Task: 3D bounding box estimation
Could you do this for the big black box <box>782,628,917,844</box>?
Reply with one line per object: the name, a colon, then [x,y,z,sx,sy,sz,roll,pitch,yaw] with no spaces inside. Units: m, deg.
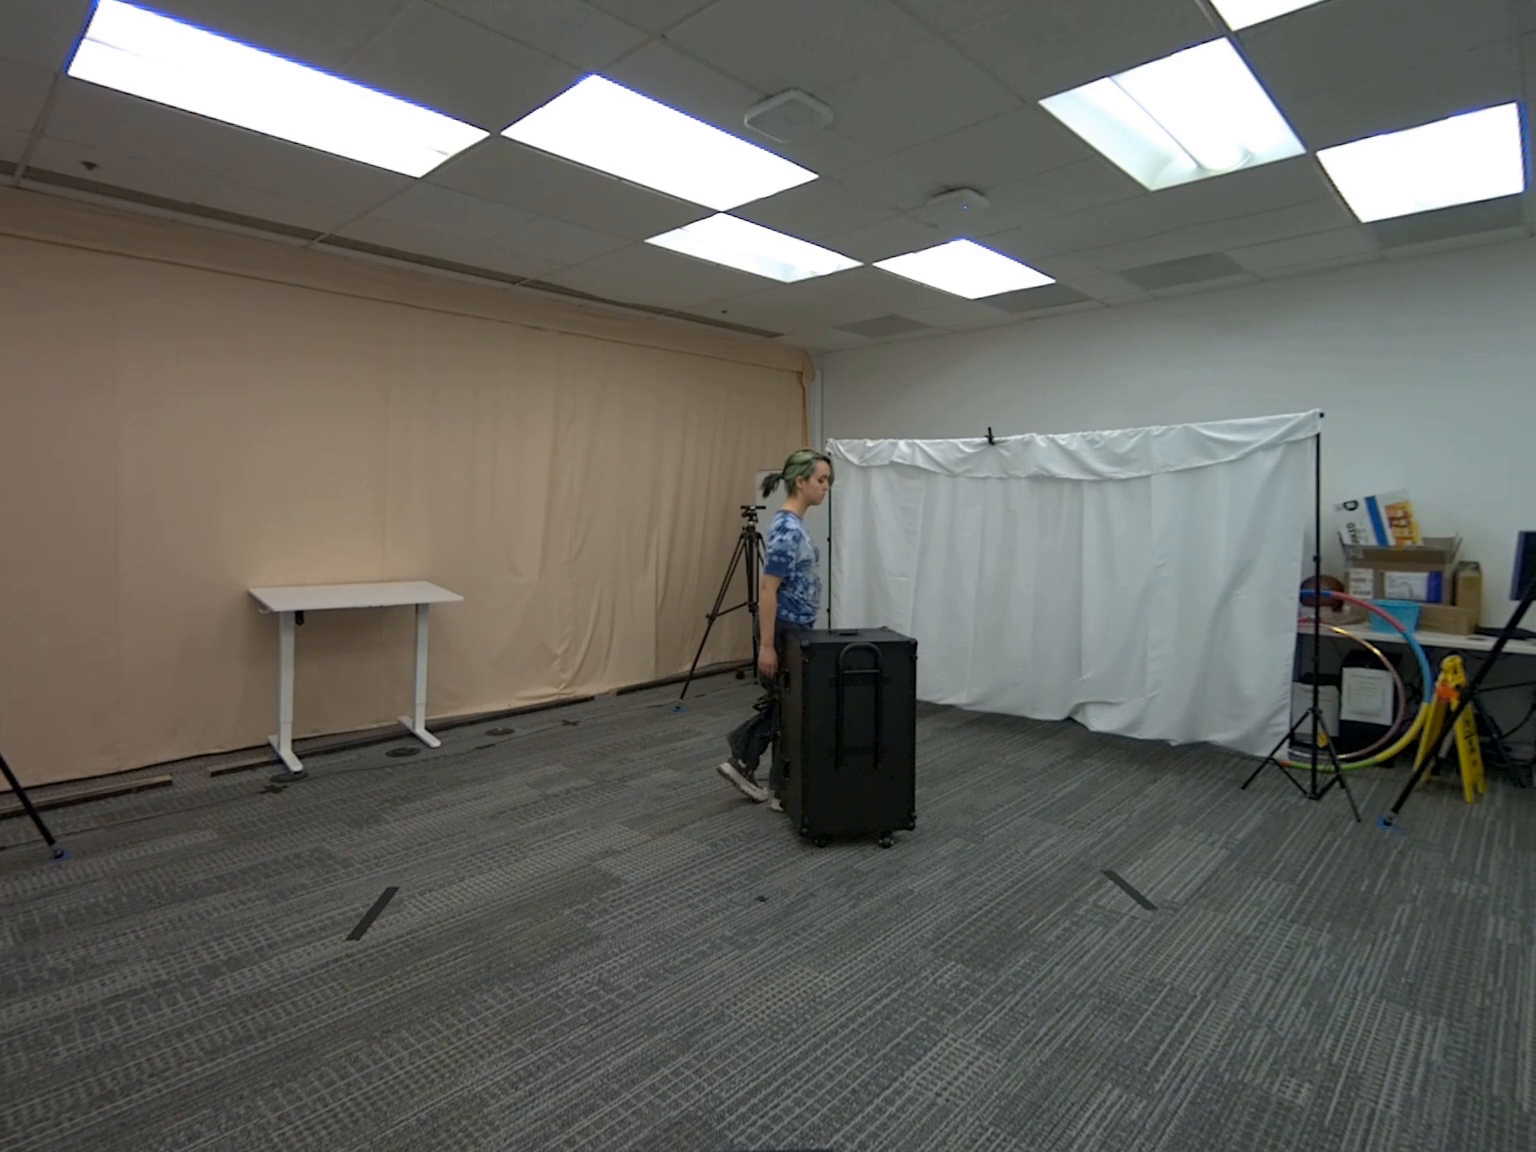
big black box: [0.339,0.671,3.543,0.517,0.859,0.400,0,3,-8]
